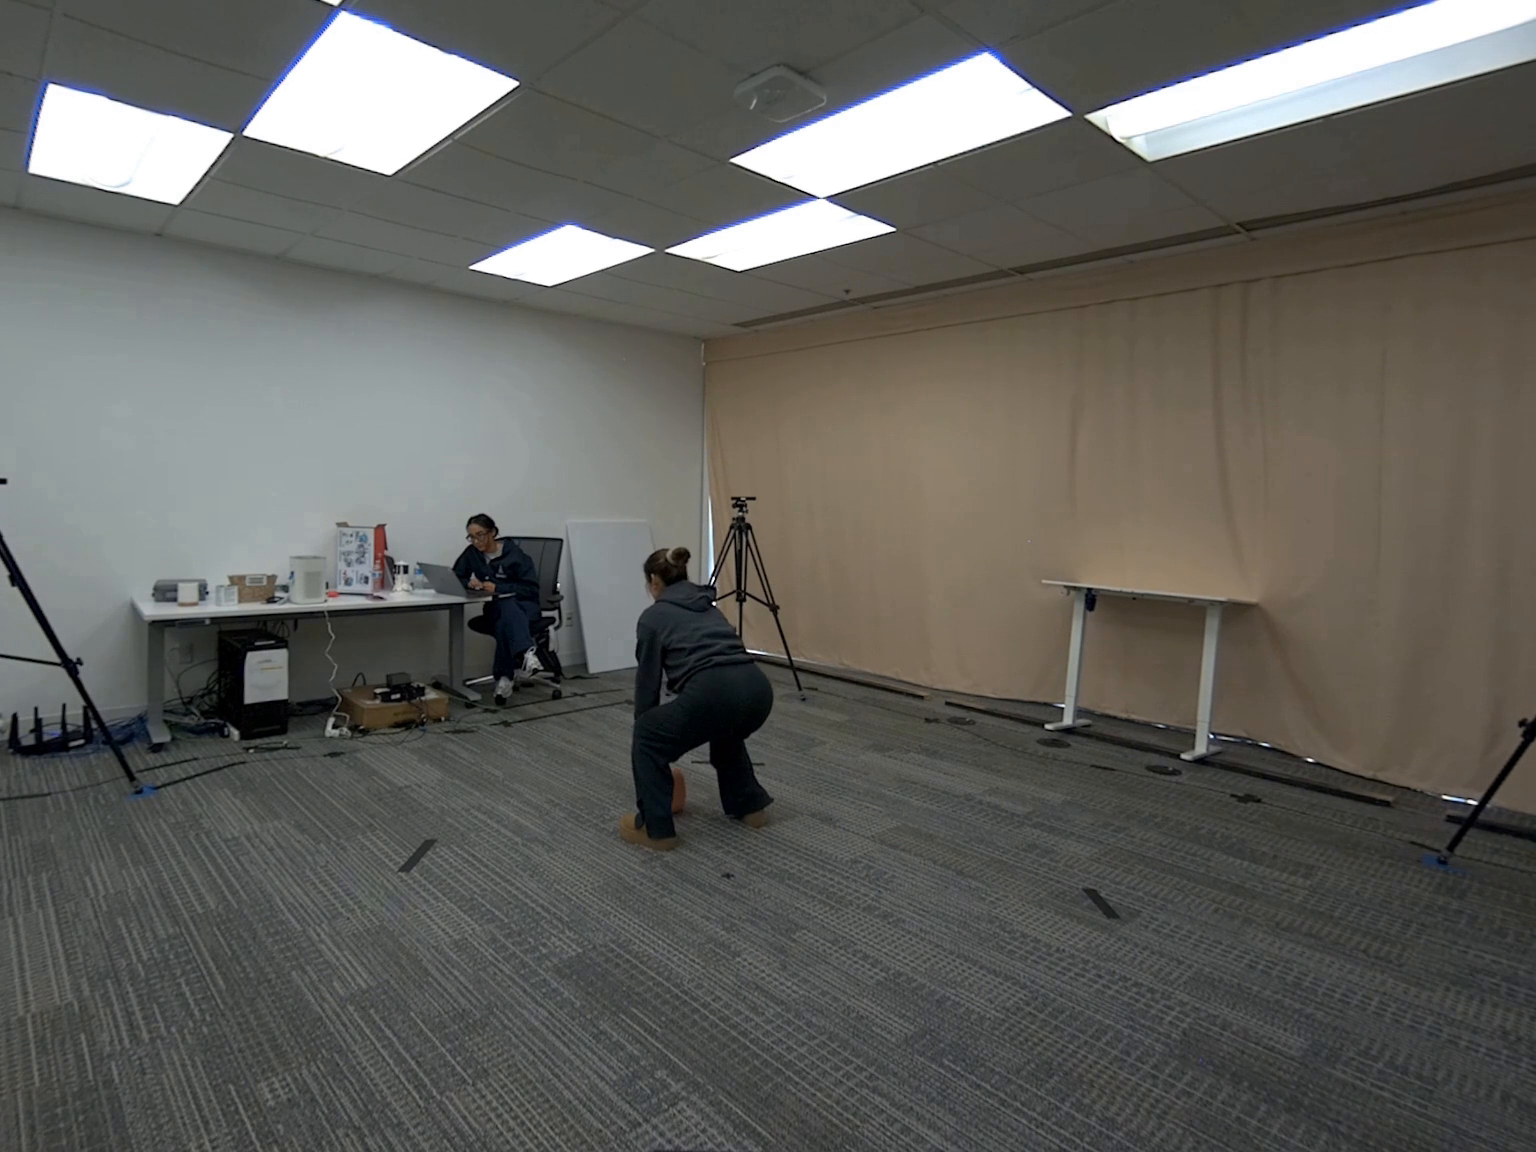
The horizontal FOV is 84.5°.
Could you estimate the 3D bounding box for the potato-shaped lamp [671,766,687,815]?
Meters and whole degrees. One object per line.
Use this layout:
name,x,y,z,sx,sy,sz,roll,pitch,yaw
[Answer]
potato-shaped lamp,-0.455,0.931,3.753,0.161,0.198,0.175,0,4,-35
